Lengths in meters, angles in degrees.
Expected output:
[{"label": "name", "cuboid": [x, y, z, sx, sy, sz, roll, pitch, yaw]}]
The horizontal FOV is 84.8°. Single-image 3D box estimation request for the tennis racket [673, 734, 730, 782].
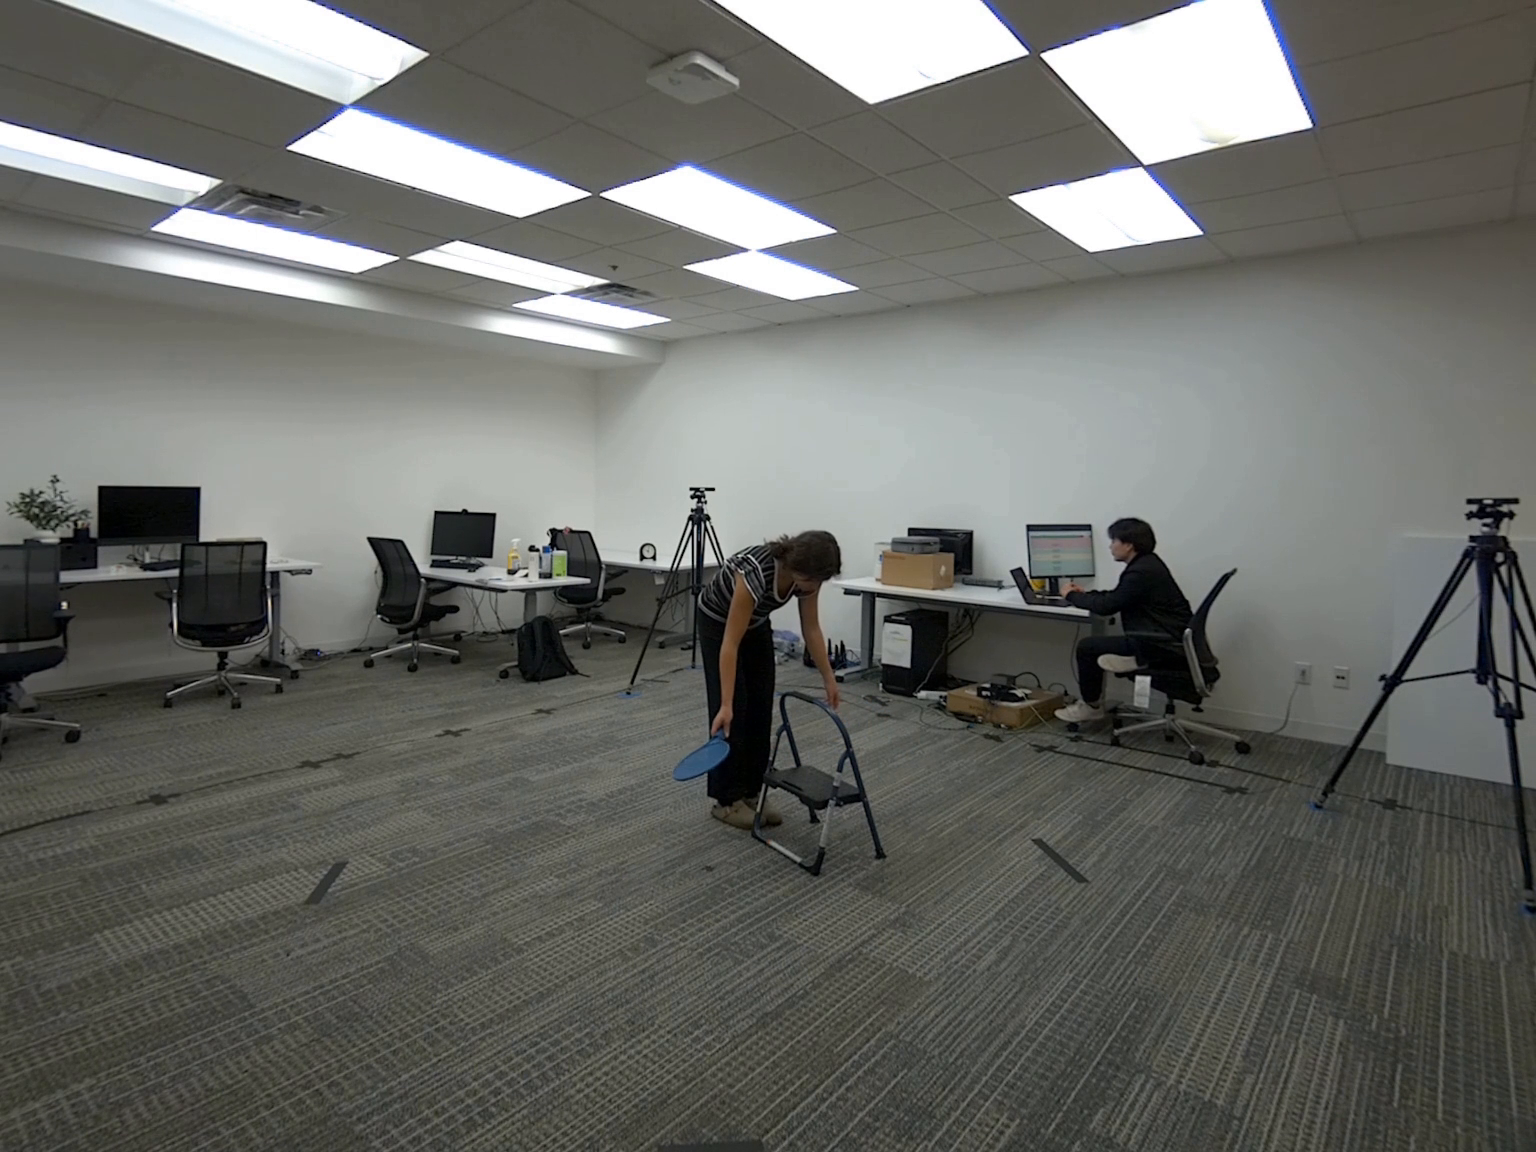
[{"label": "tennis racket", "cuboid": [-0.225, 0.635, 3.105, 0.216, 0.031, 0.432, -17, 12, 18]}]
